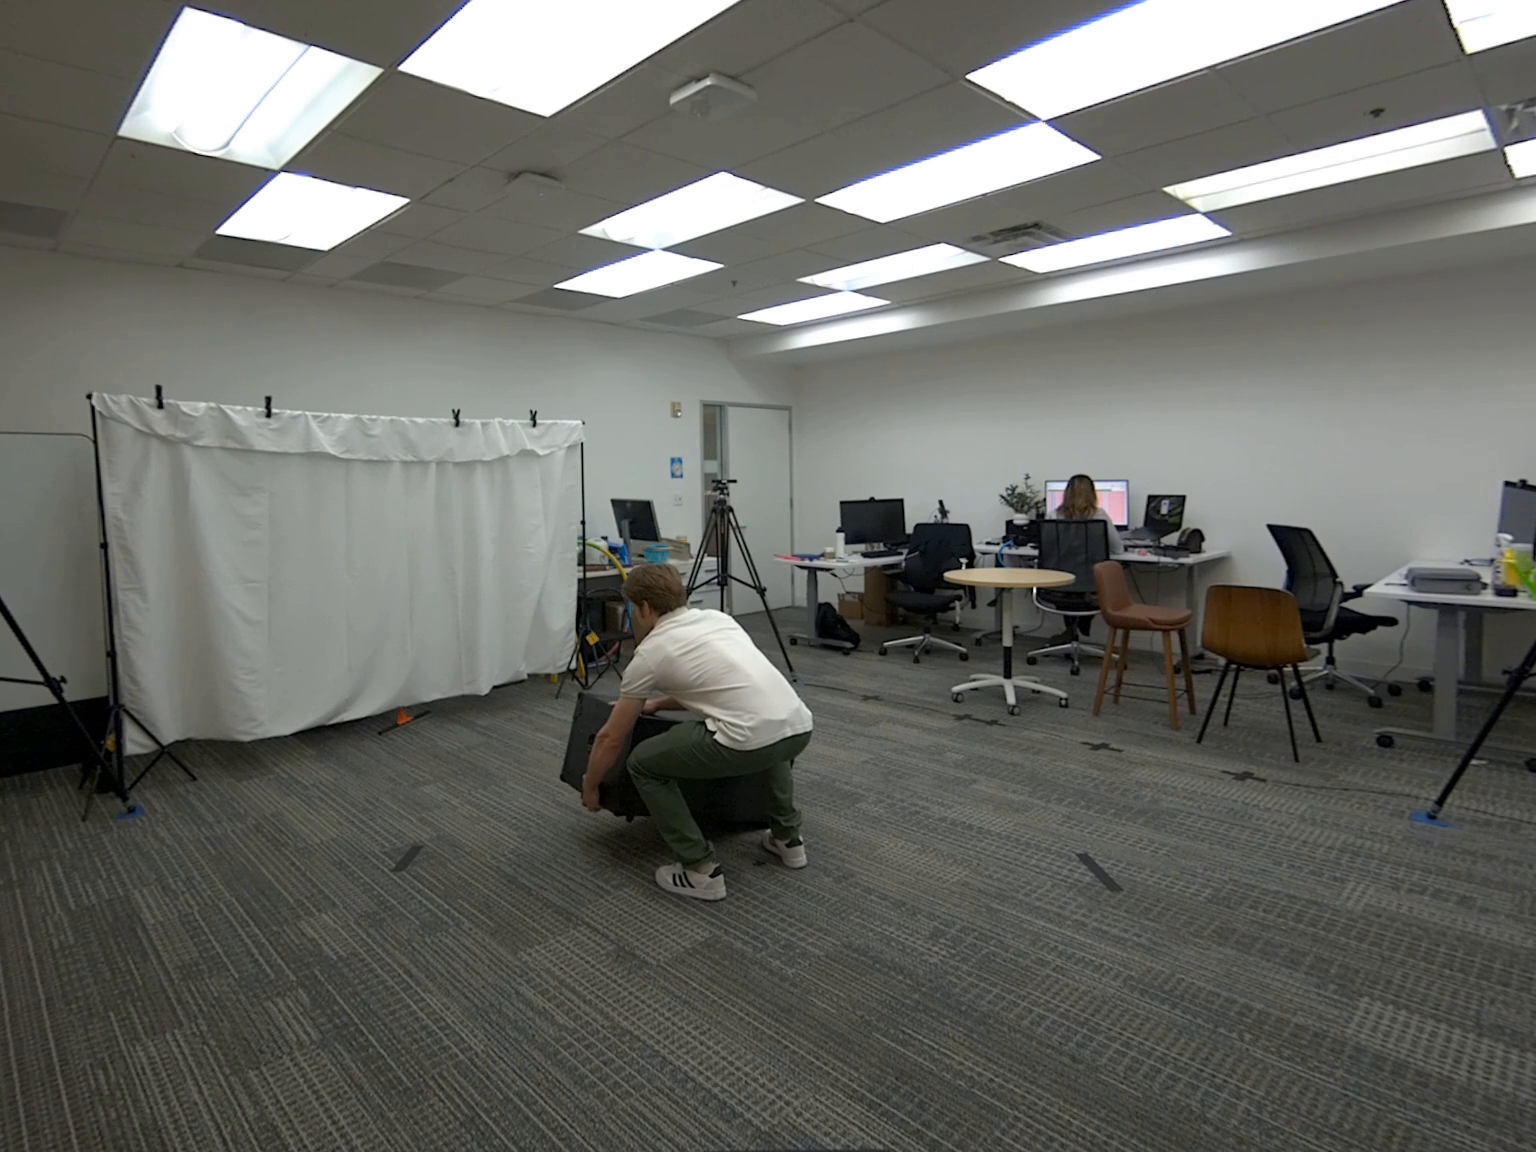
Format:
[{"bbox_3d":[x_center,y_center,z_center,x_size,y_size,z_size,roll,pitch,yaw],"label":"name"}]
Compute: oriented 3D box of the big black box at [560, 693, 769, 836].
[{"bbox_3d":[-0.326,0.744,3.472,0.841,0.387,0.538,14,-6,-34],"label":"big black box"}]
